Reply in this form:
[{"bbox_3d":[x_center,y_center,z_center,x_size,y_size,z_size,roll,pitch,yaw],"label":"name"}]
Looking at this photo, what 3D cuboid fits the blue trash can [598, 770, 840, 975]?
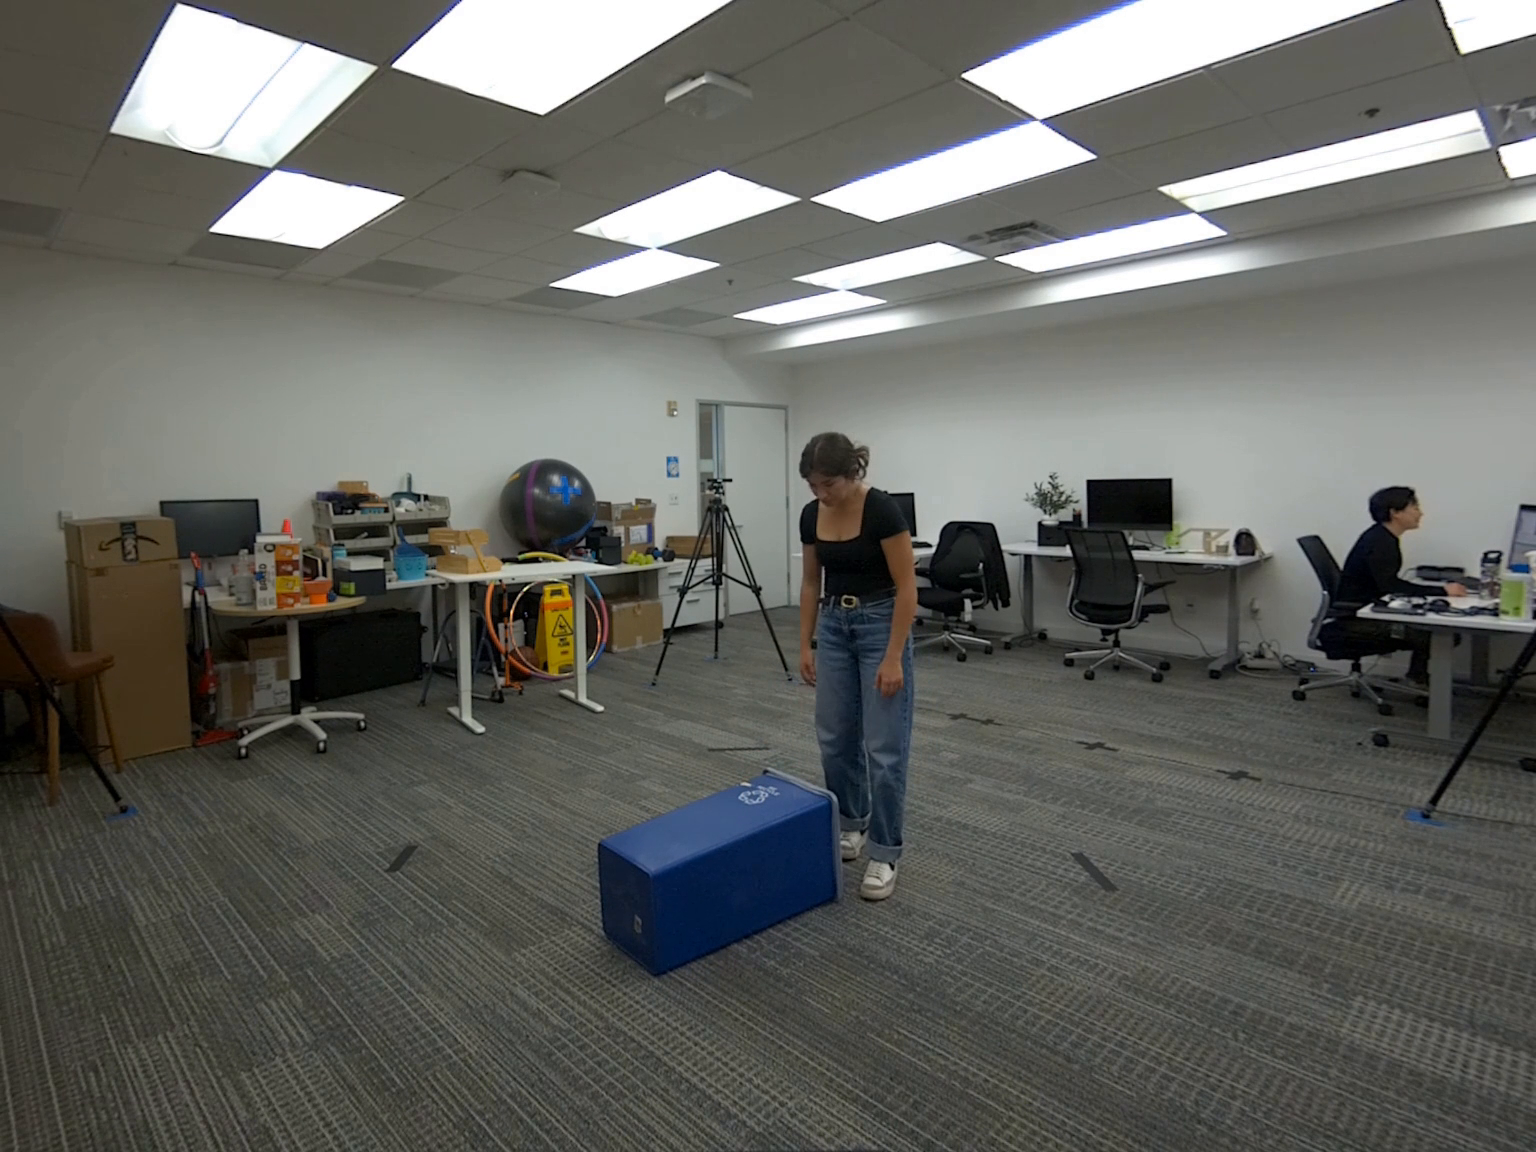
[{"bbox_3d":[-0.143,0.925,2.713,0.696,0.375,0.386,-10,10,-39],"label":"blue trash can"}]
